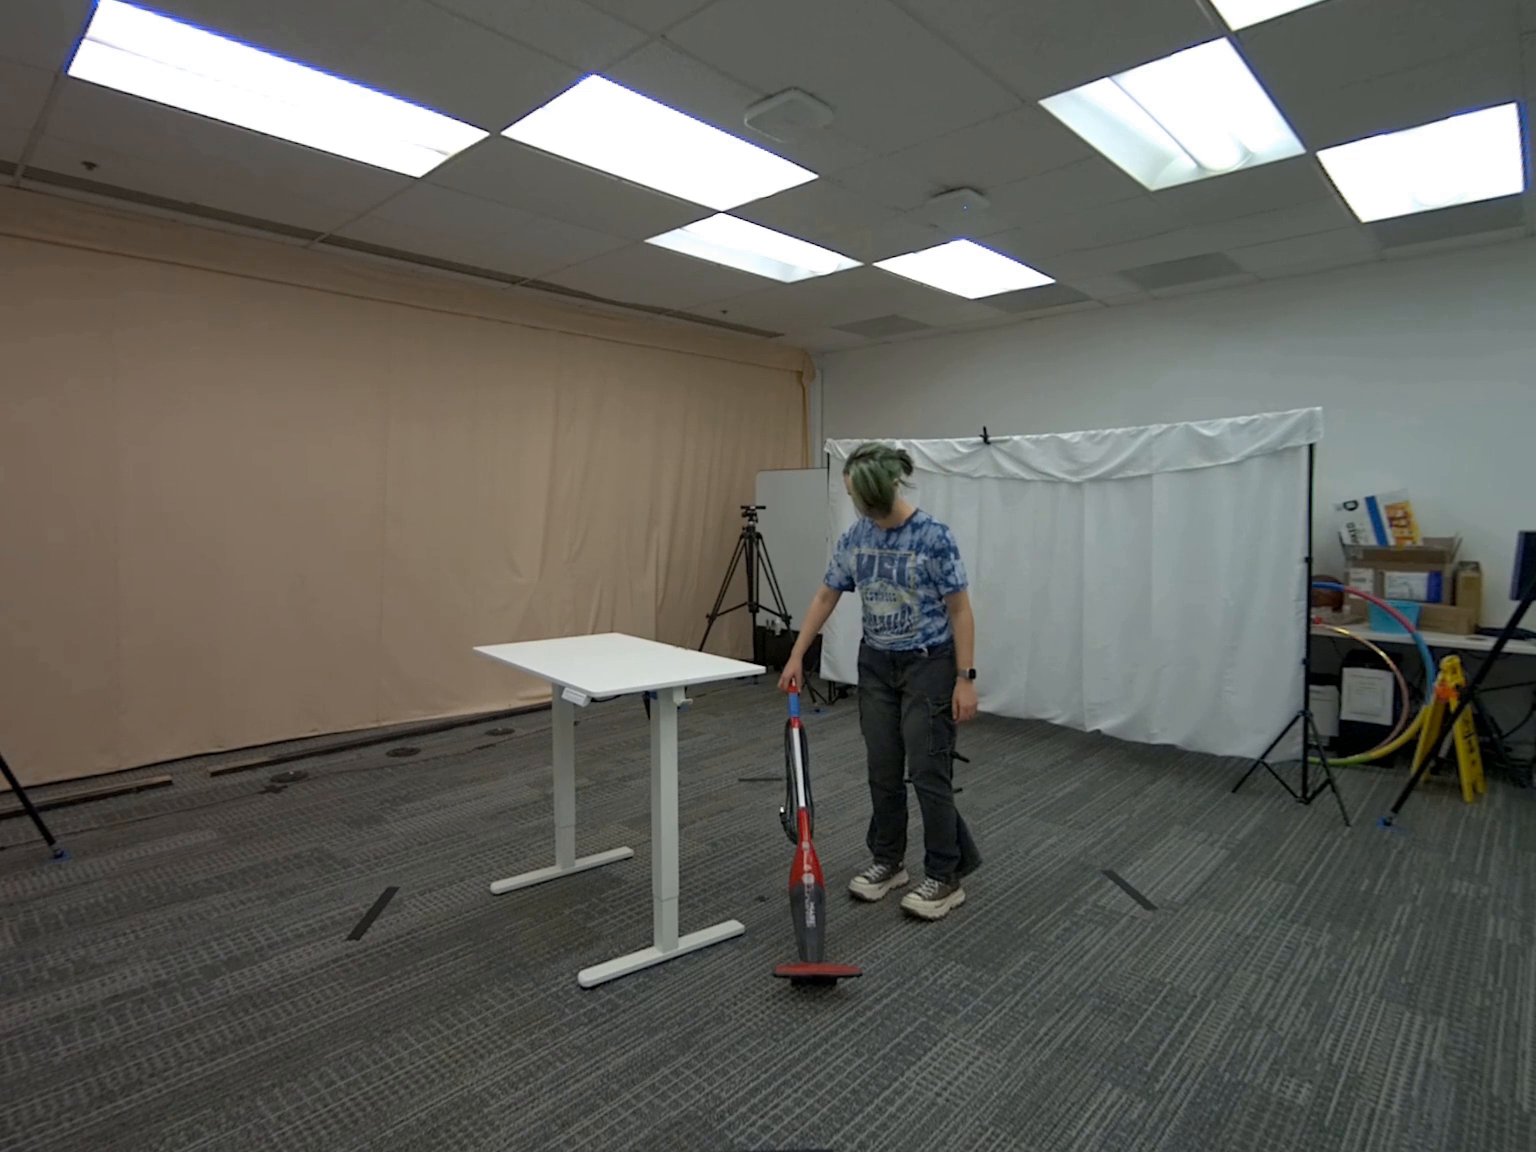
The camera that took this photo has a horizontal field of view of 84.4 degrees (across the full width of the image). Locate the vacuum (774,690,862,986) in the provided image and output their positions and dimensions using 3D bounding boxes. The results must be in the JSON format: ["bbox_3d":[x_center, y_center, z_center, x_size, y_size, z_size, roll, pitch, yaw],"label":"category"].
[{"bbox_3d":[0.123,0.790,2.755,0.252,0.141,1.069,-1,45,-1],"label":"vacuum"}]
